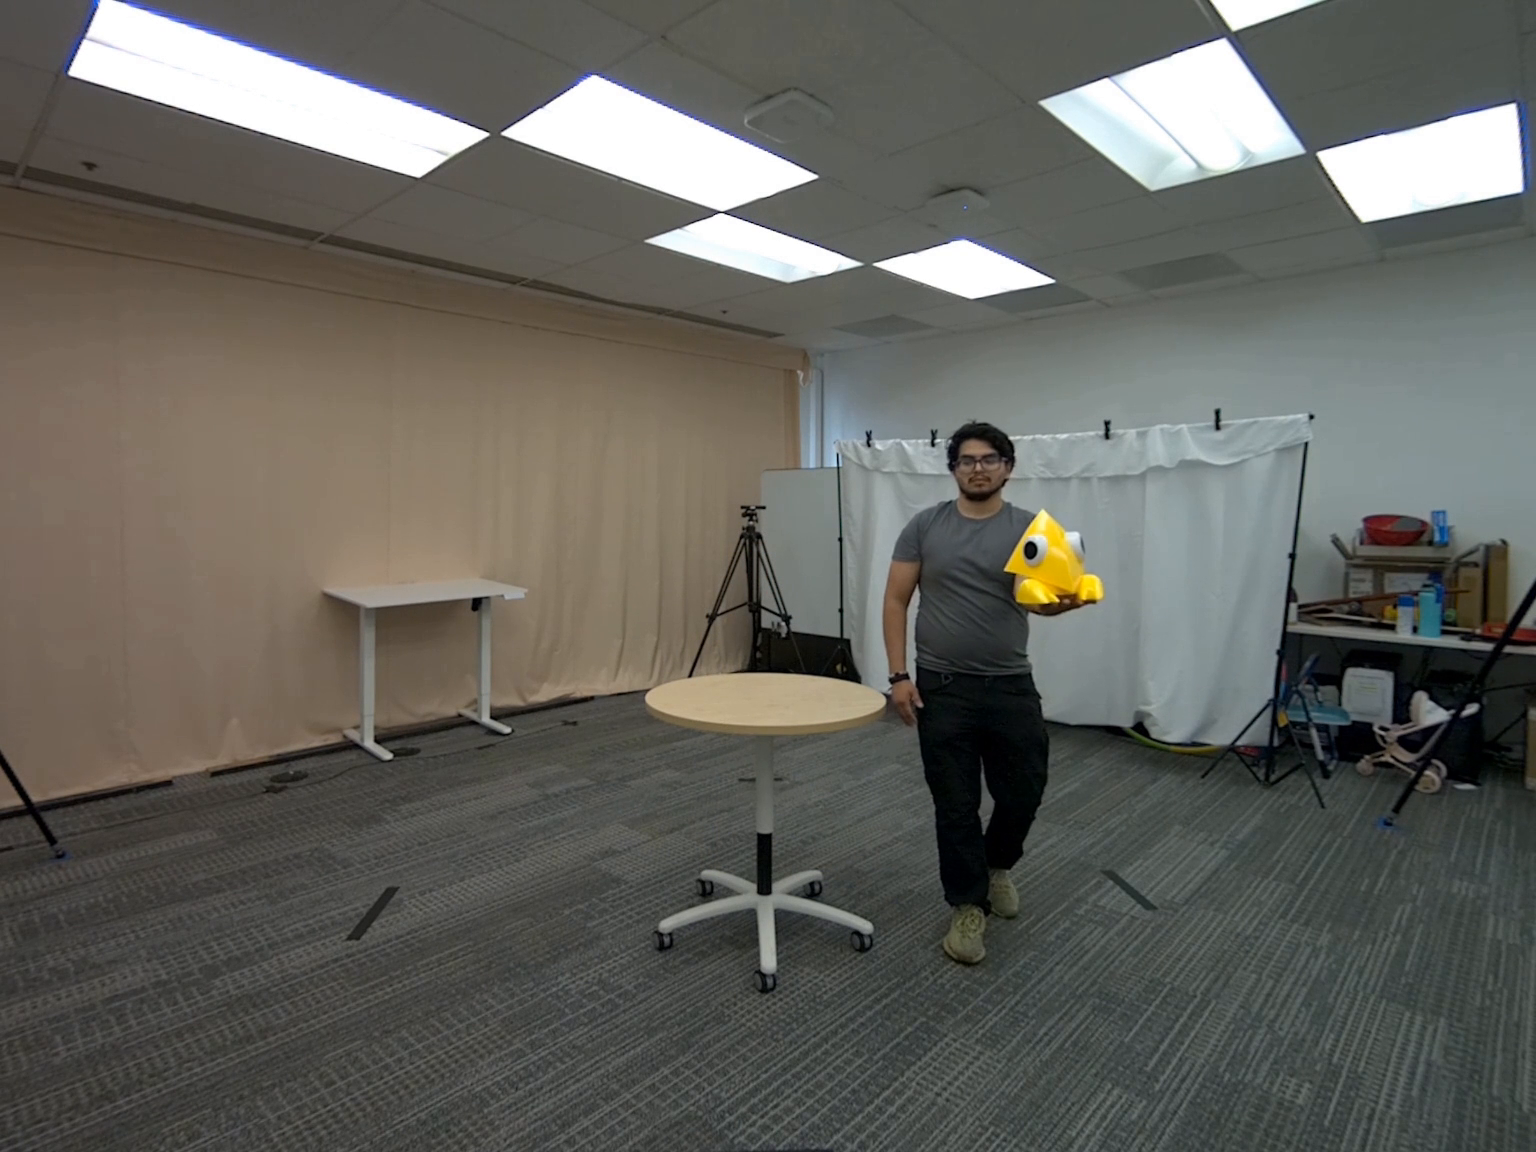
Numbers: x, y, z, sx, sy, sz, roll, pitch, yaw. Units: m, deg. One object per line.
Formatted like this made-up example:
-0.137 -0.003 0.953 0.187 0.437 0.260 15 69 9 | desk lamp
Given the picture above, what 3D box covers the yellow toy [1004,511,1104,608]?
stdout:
0.723 -0.053 2.126 0.205 0.231 0.193 -5 0 -1 | yellow toy
